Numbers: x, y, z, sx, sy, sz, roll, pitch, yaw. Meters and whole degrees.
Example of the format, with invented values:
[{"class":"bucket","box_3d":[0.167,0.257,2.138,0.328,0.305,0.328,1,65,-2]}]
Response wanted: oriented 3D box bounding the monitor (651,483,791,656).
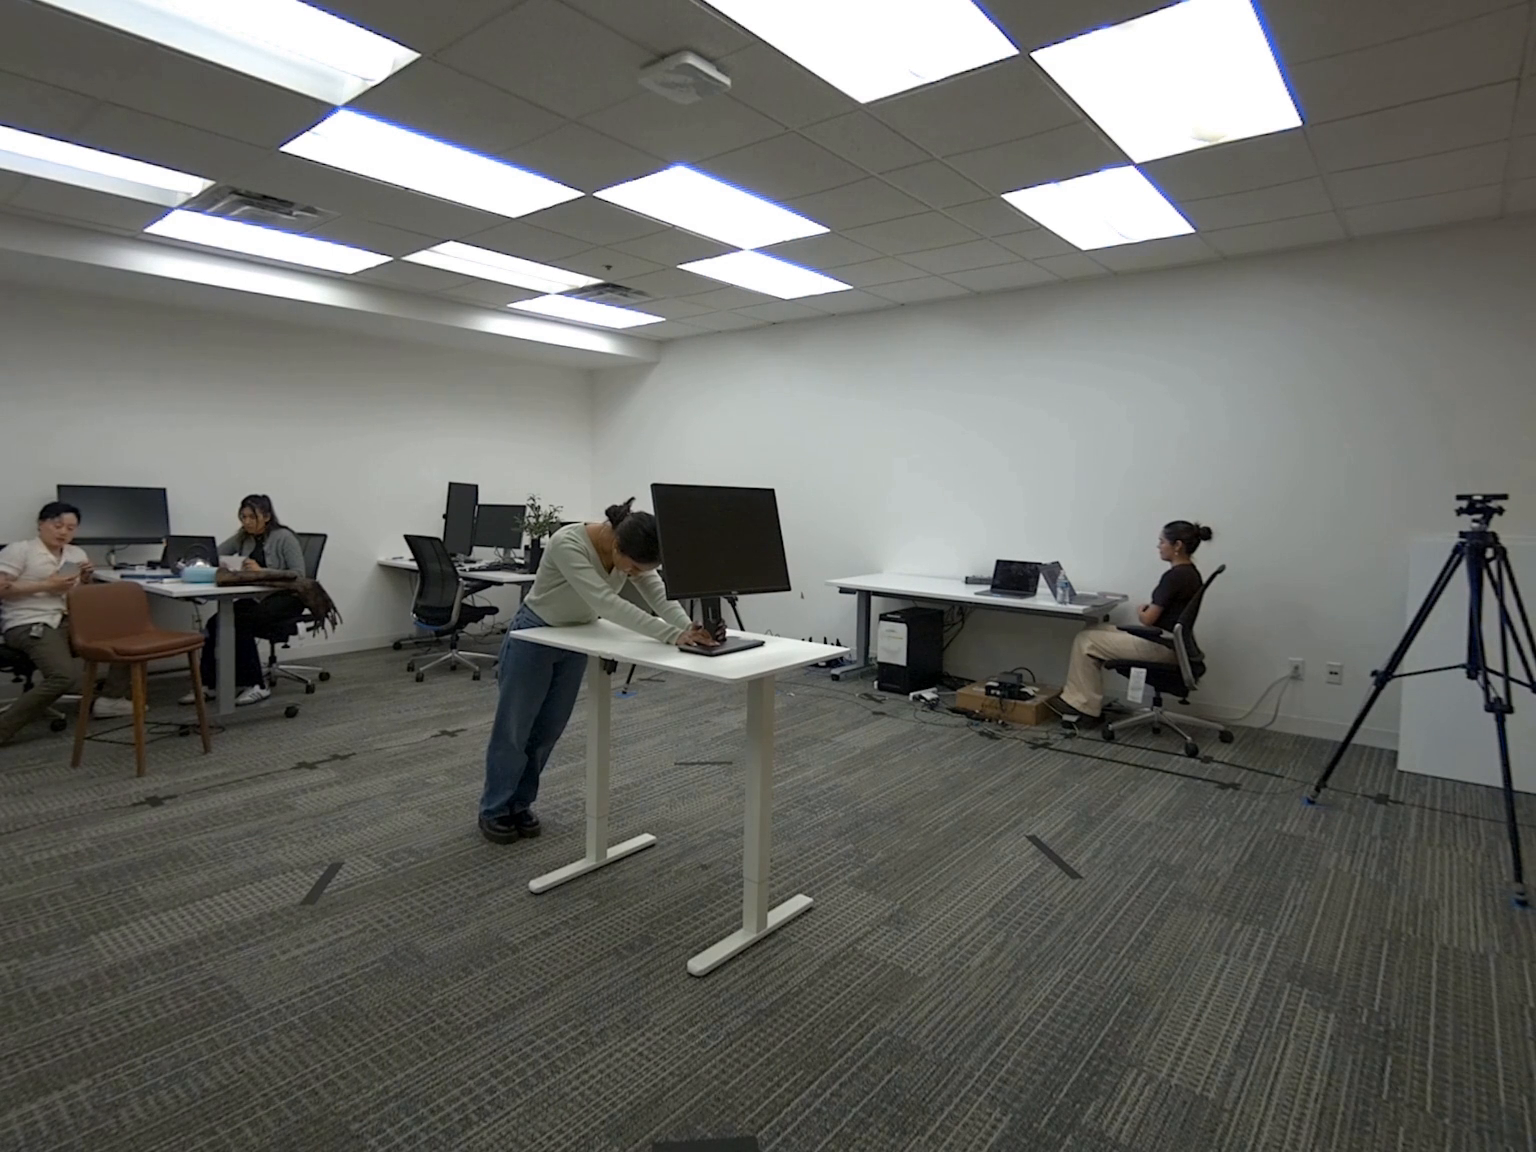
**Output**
[{"class":"monitor","box_3d":[-0.165,-0.027,2.697,0.193,0.522,0.522,0,2,42]}]
